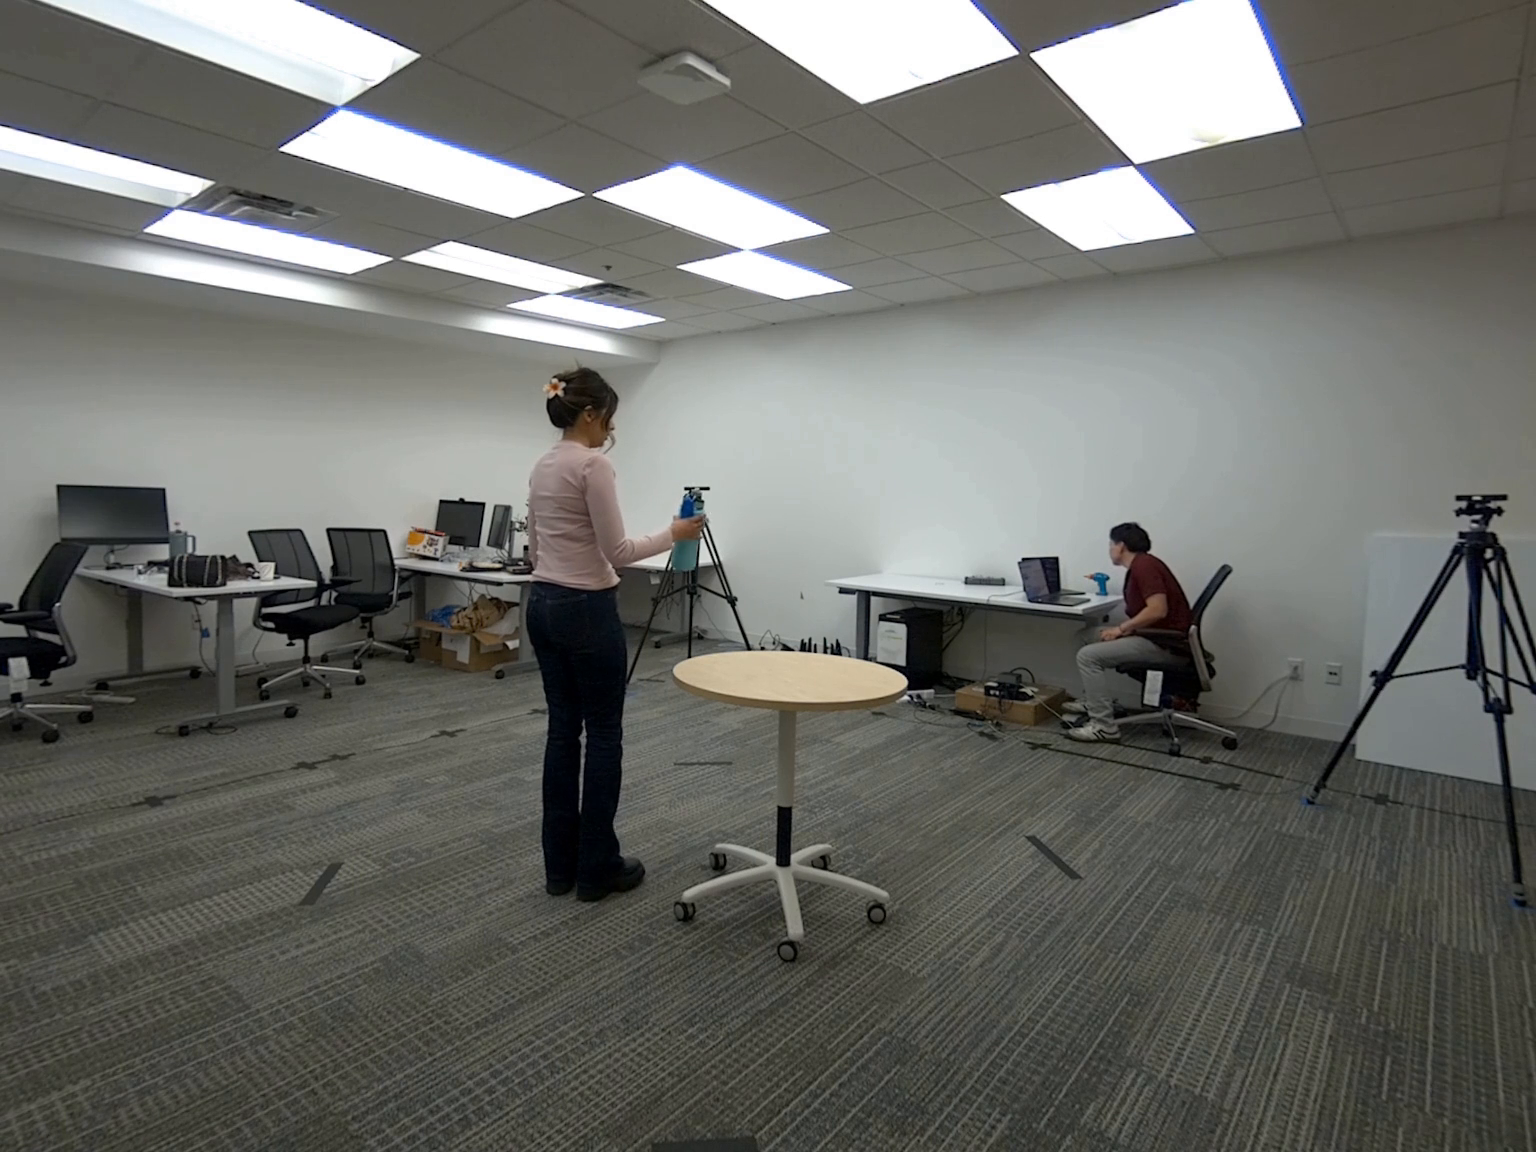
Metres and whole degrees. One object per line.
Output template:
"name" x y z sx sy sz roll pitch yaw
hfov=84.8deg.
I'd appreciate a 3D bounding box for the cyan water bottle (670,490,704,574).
"cyan water bottle" -0.298 -0.162 3.038 0.092 0.280 0.094 8 16 -4
